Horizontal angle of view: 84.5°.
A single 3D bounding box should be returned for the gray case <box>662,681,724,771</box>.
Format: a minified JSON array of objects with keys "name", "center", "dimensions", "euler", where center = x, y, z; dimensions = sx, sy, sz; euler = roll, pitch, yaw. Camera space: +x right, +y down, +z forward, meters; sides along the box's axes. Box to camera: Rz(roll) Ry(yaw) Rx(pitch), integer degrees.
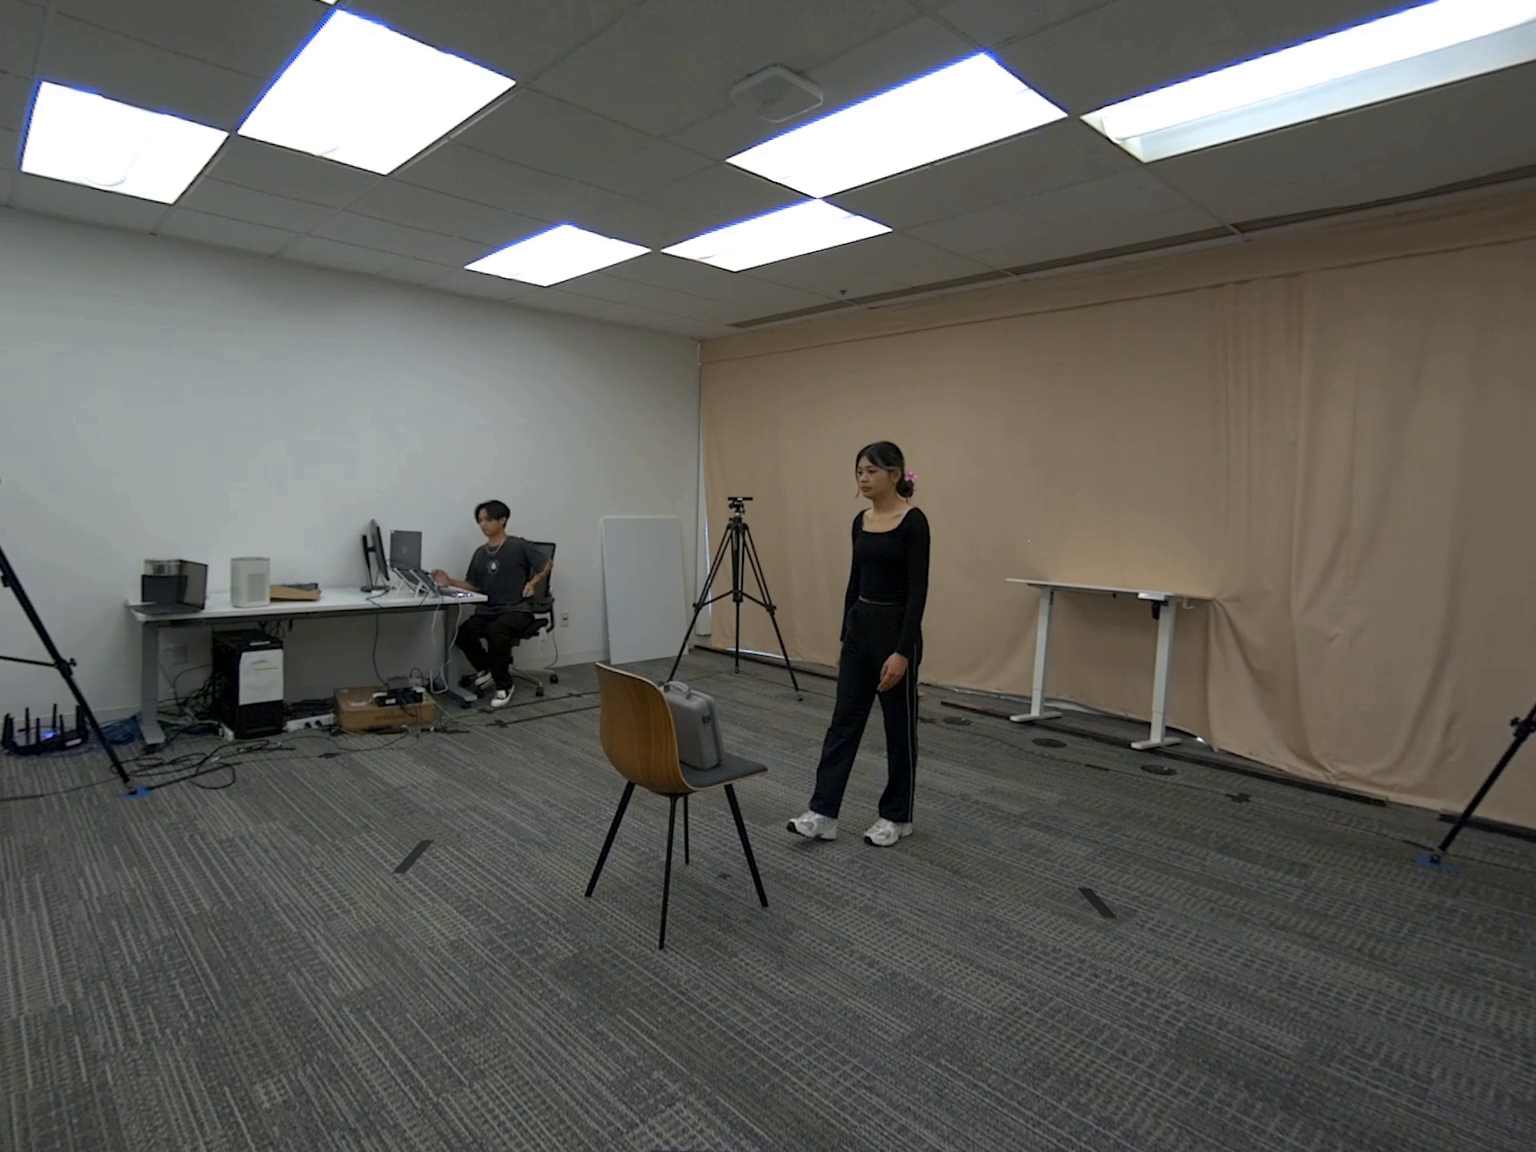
[{"name":"gray case","center":[-0.289,0.512,2.890],"dimensions":[0.103,0.258,0.263],"euler":[-21,18,-41]}]
